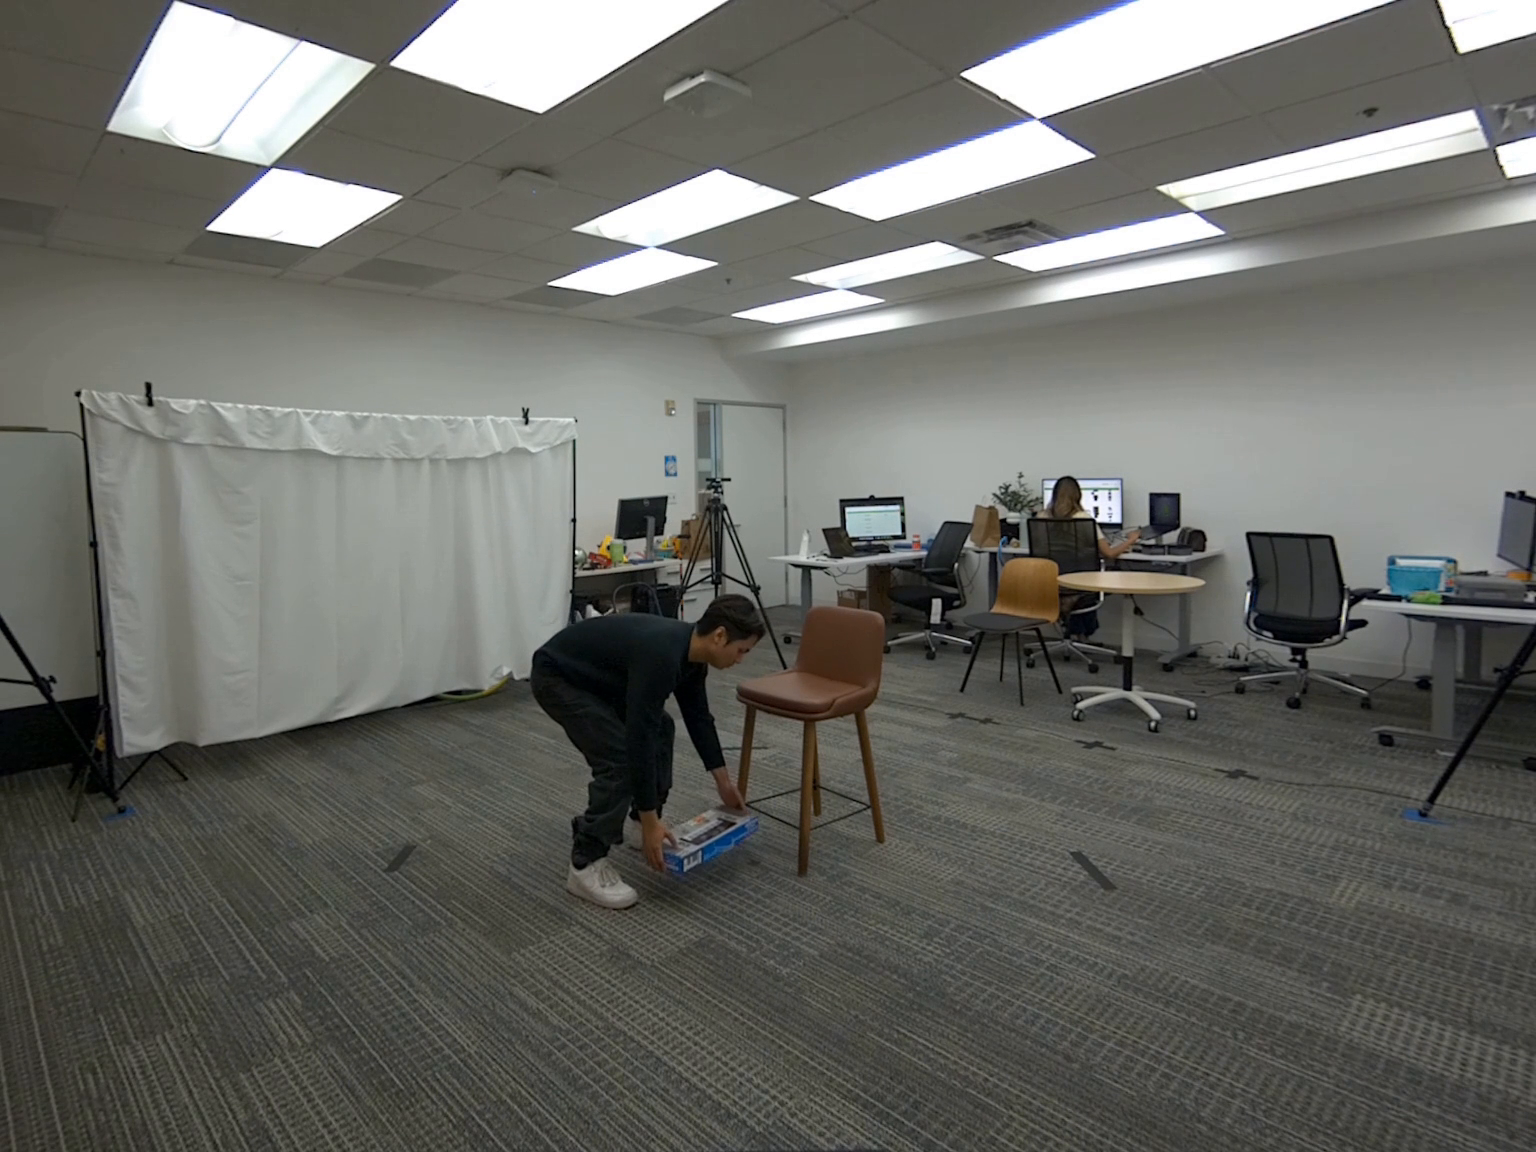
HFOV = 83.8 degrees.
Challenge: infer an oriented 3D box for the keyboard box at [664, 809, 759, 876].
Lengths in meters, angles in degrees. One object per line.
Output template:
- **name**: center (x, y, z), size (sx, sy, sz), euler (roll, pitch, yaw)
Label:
- **keyboard box**: center (-0.234, 0.901, 2.959), size (0.181, 0.059, 0.426), euler (9, 10, 34)
